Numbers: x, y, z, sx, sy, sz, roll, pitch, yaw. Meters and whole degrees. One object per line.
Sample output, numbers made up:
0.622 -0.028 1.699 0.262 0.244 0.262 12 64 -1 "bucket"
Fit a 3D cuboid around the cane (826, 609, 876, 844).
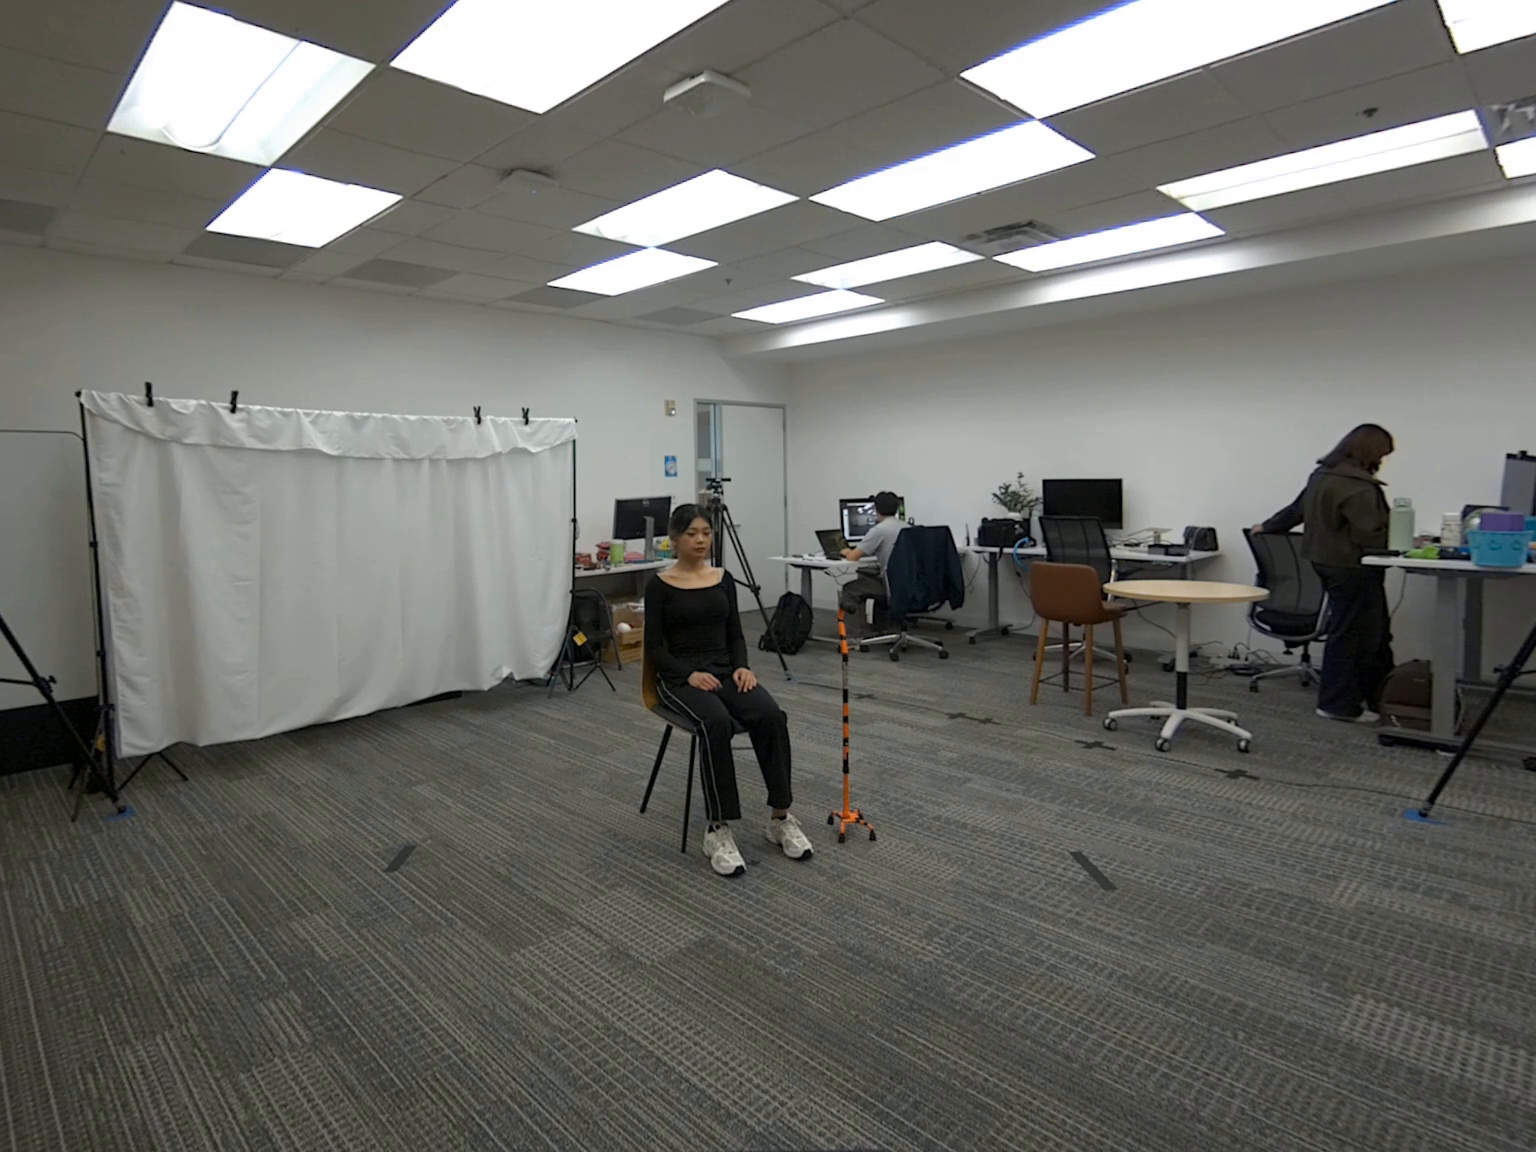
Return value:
0.314 0.552 3.337 0.150 0.904 0.209 -1 4 -9 "cane"
